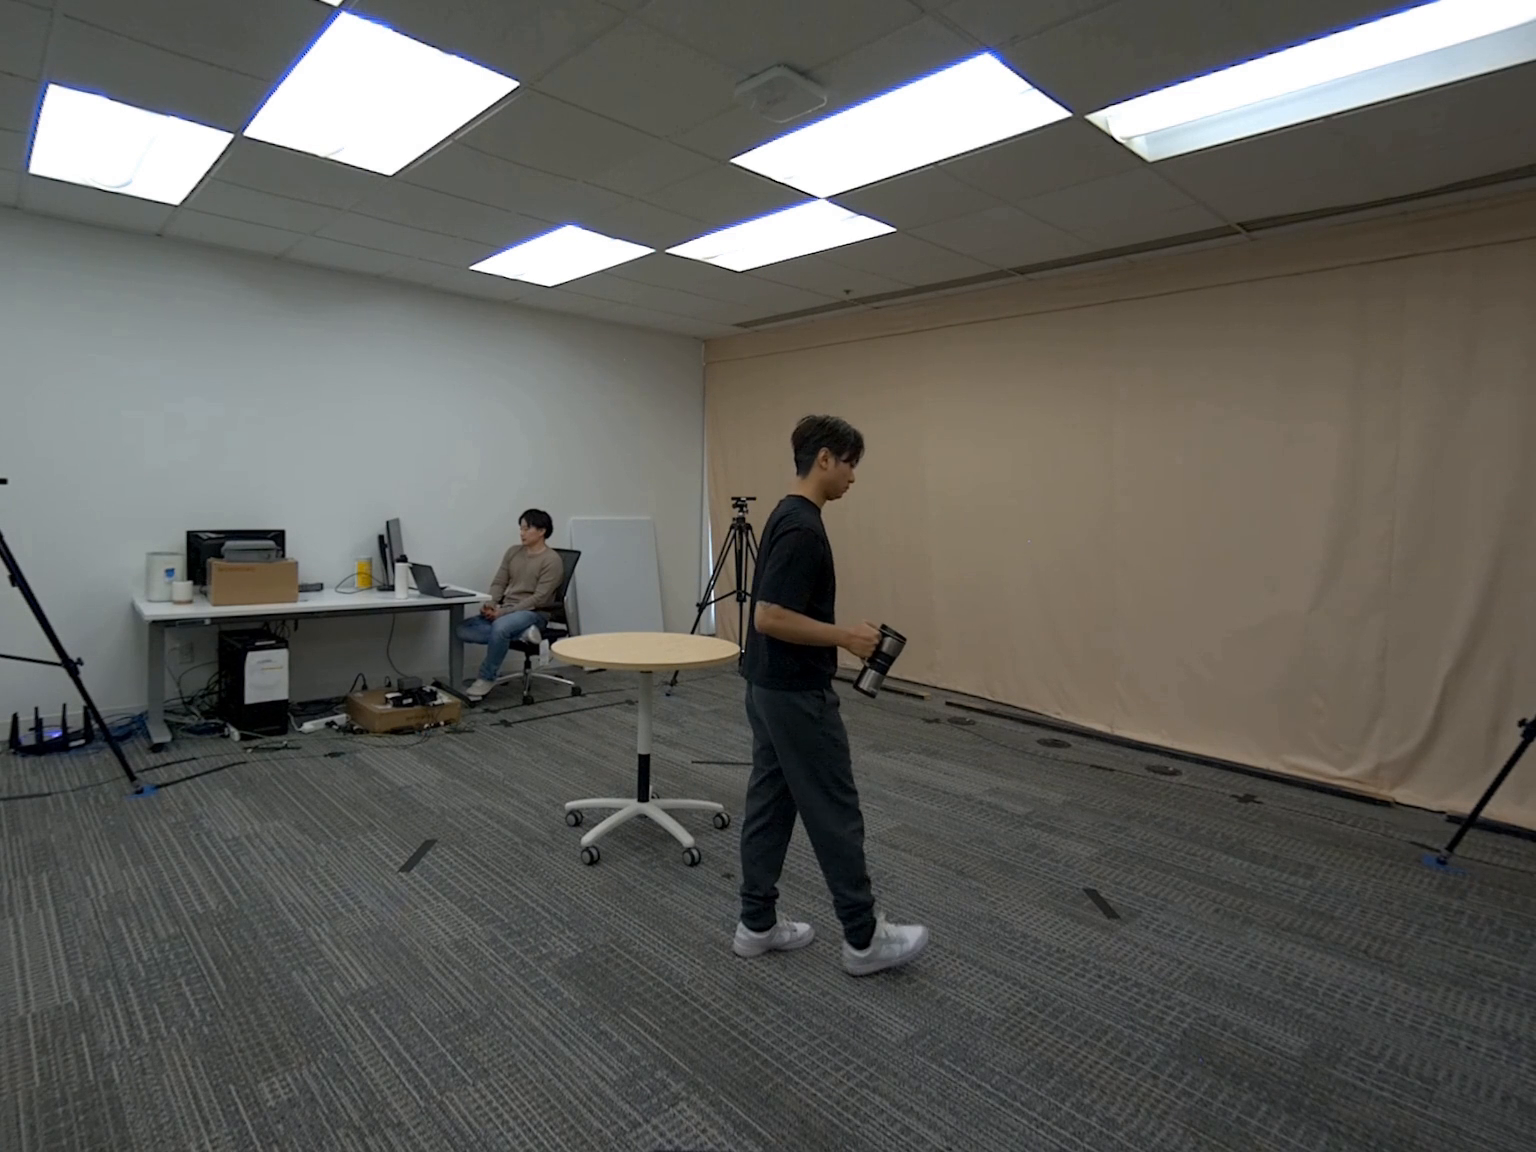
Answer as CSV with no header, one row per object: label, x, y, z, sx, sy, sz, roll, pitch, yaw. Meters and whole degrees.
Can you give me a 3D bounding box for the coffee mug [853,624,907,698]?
coffee mug,0.302,0.249,2.422,0.125,0.203,0.085,29,4,33
